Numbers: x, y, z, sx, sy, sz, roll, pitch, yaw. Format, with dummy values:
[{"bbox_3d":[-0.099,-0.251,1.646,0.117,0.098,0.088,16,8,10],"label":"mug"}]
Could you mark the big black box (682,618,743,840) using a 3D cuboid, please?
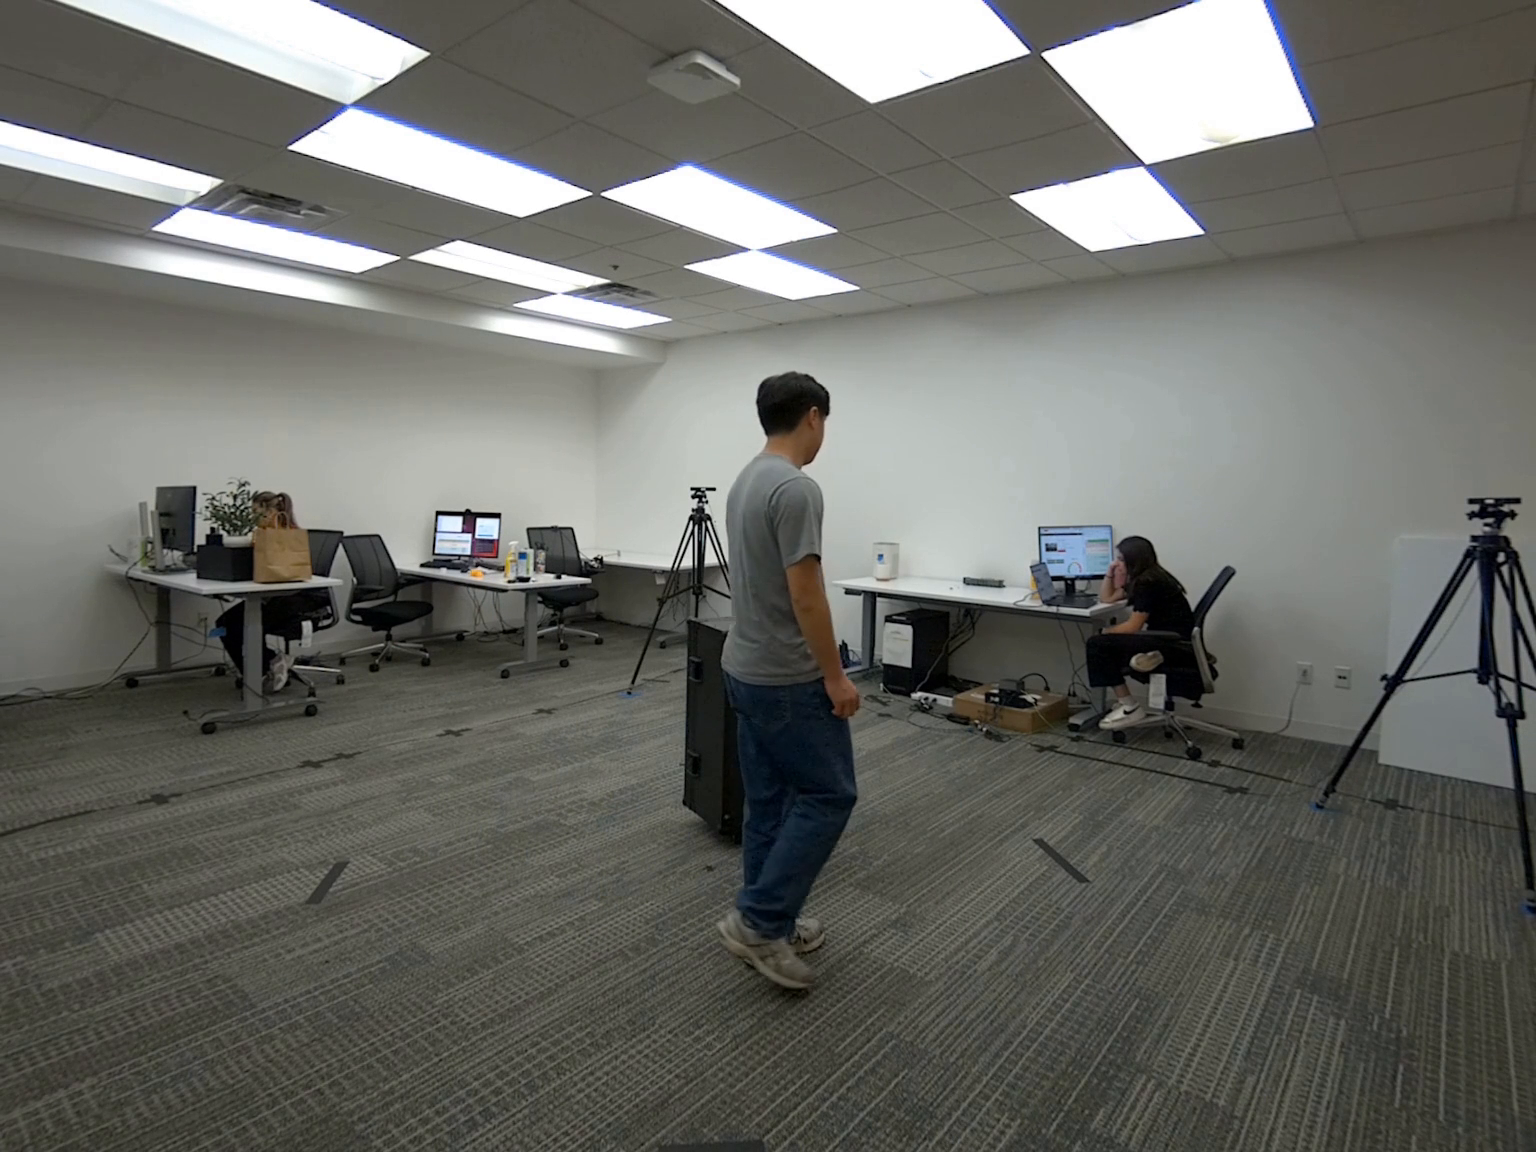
[{"bbox_3d":[-0.049,0.605,3.468,0.508,0.858,0.408,0,5,-28],"label":"big black box"}]
